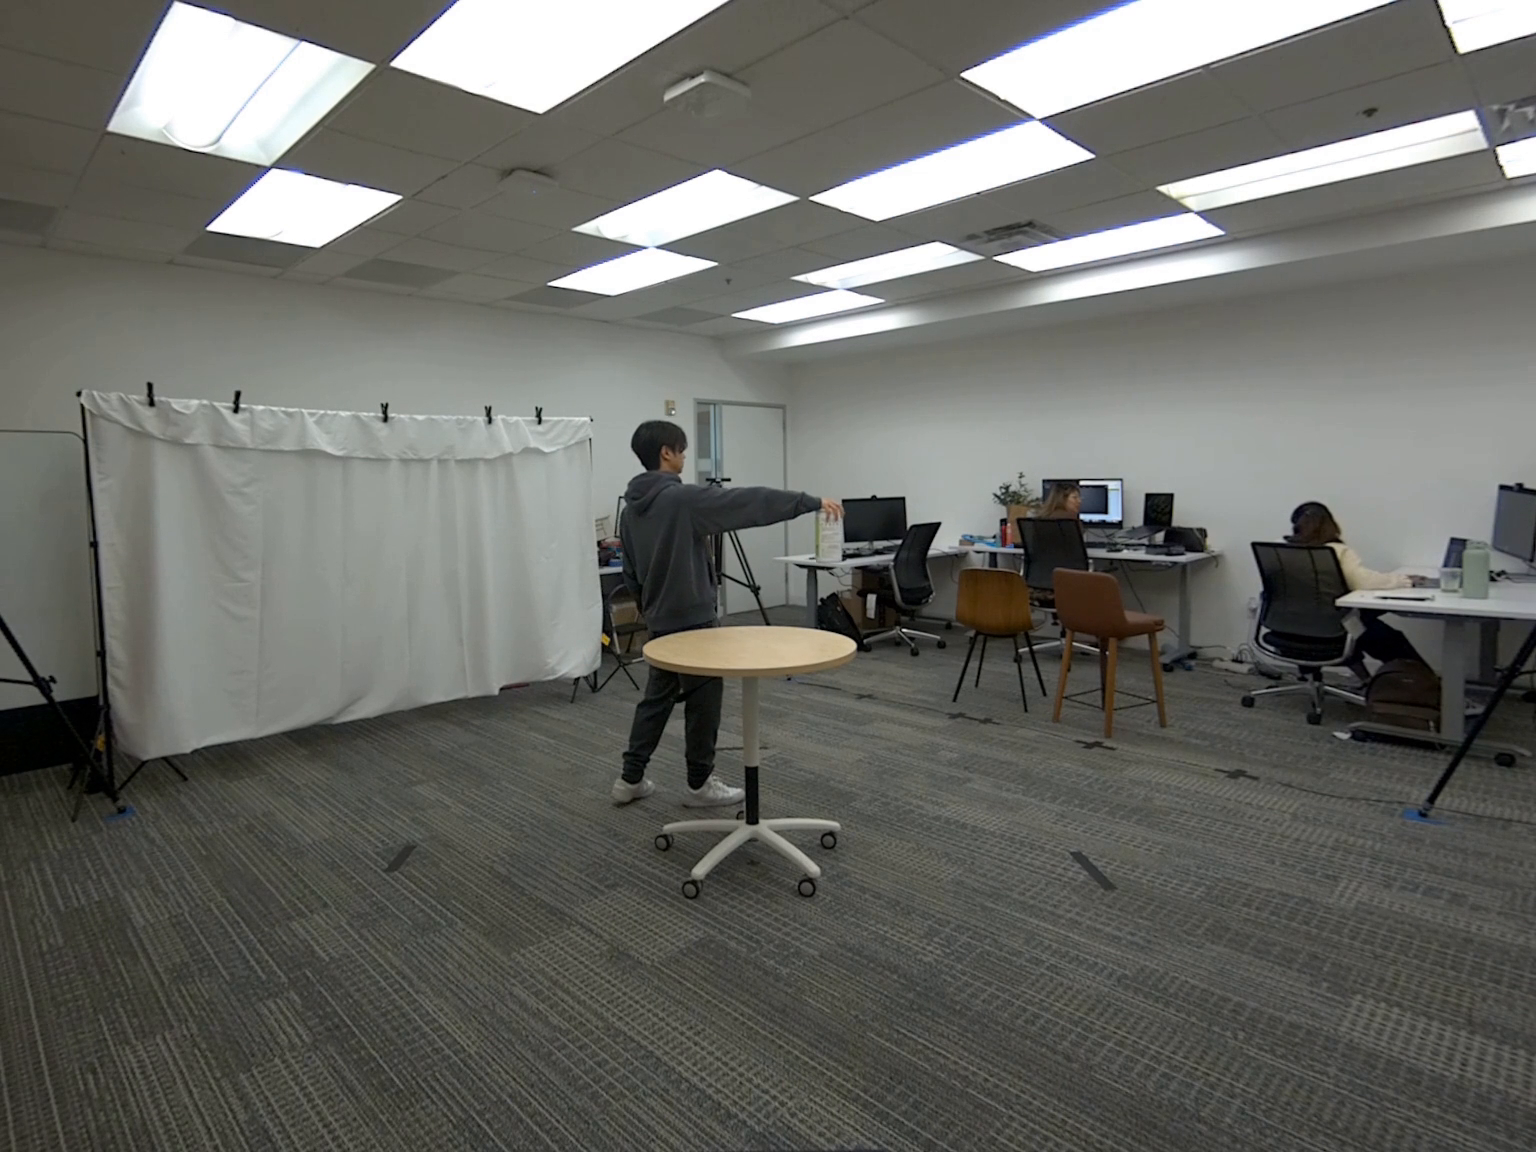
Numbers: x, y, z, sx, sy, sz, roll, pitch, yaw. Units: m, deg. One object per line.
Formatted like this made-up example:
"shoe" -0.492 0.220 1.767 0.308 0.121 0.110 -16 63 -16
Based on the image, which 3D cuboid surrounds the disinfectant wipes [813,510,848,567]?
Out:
"disinfectant wipes" 0.253 -0.158 3.526 0.118 0.217 0.118 -2 3 -2
